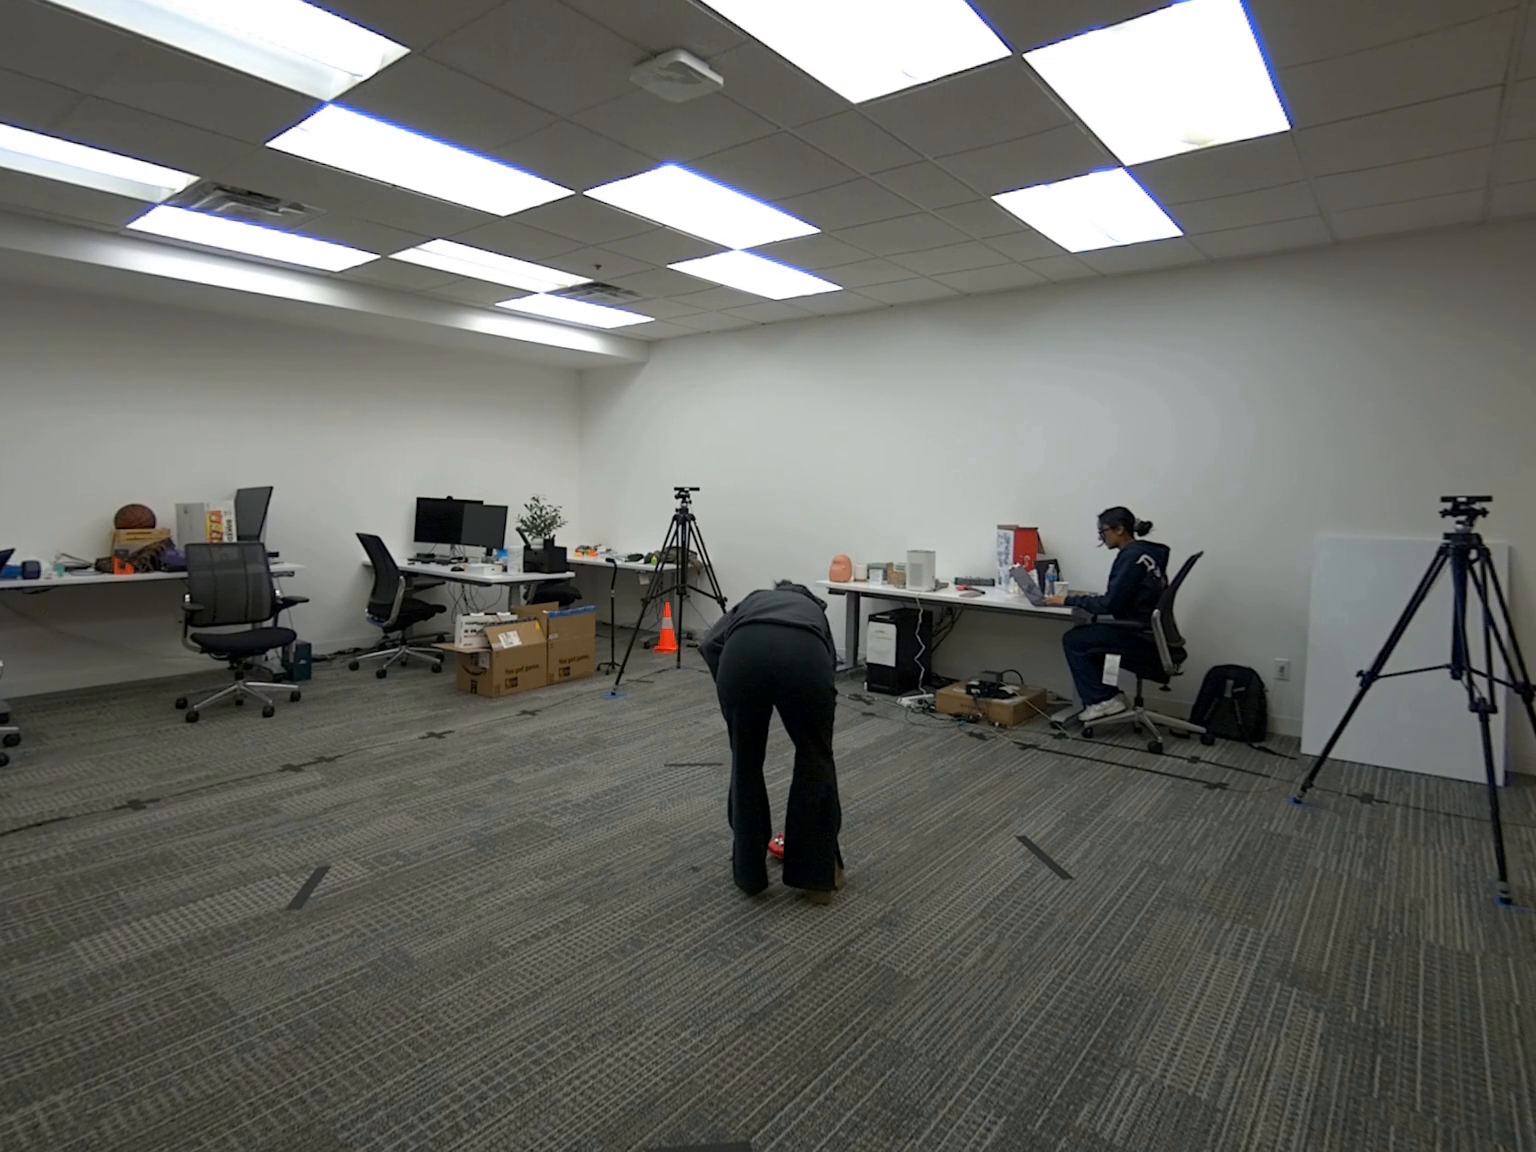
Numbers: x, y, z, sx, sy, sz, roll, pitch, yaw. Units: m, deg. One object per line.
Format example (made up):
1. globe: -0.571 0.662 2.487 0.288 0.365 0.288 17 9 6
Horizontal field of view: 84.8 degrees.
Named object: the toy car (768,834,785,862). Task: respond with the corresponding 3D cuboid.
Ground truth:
1. toy car: 0.103 1.018 3.243 0.245 0.083 0.135 12 -3 -41
